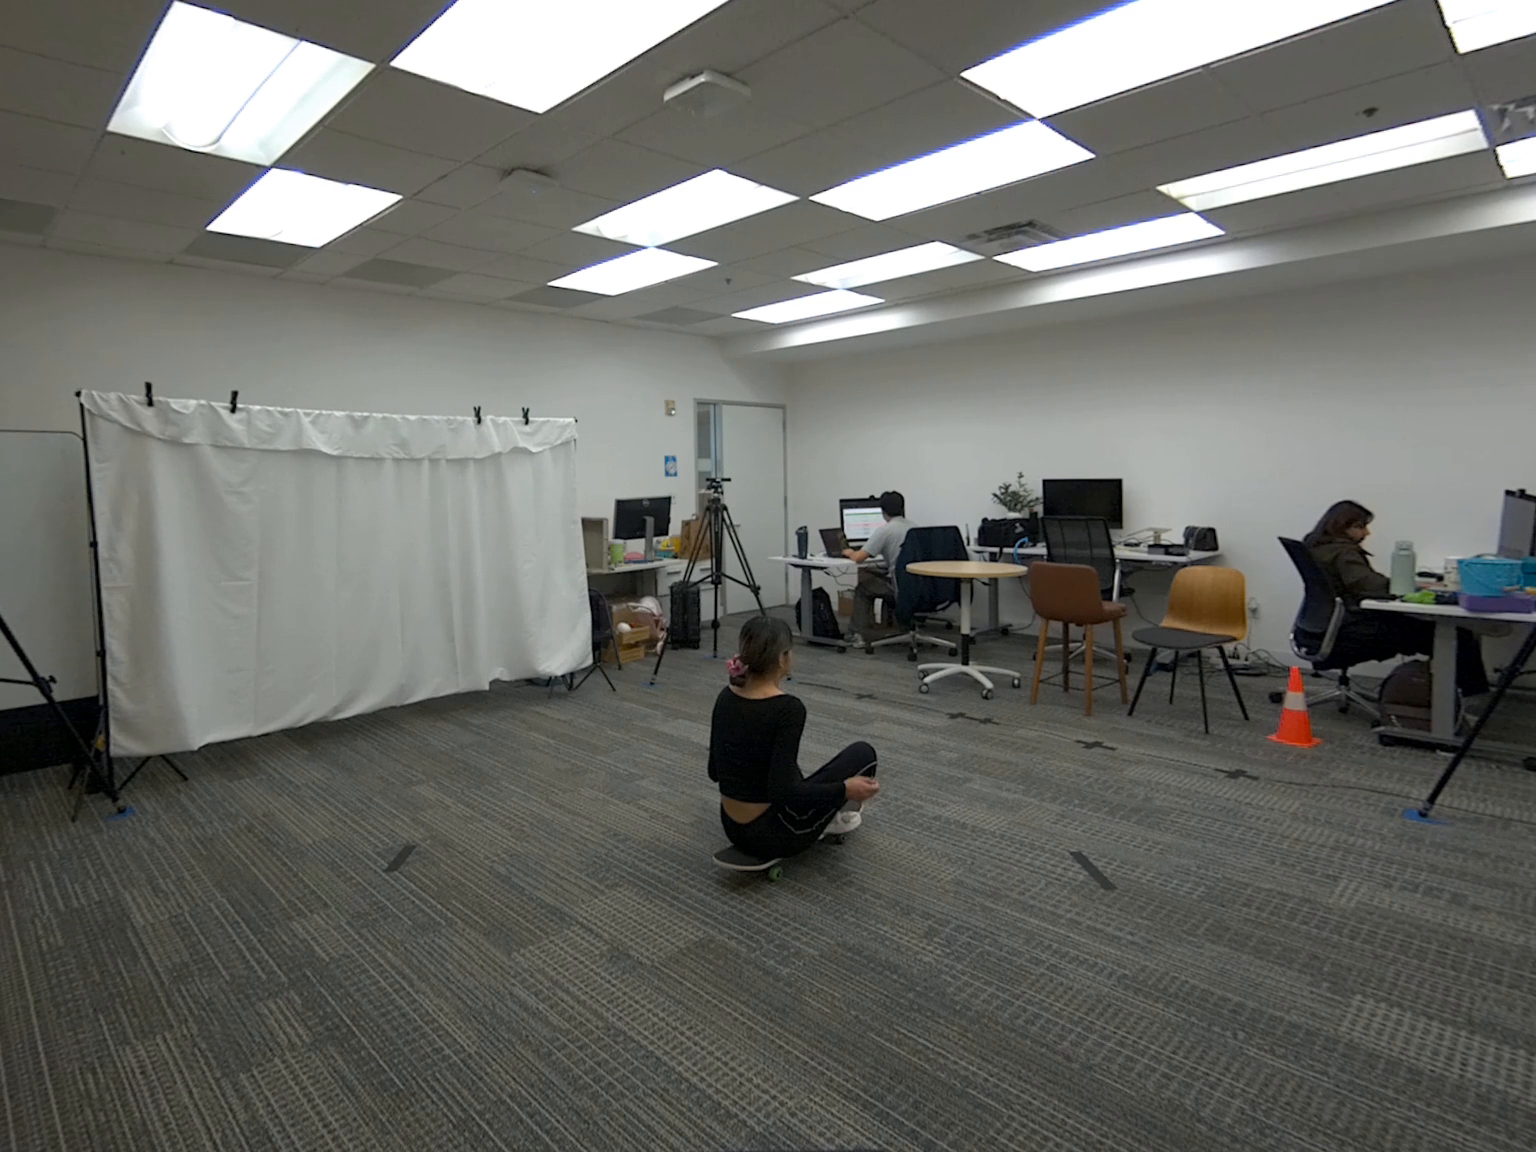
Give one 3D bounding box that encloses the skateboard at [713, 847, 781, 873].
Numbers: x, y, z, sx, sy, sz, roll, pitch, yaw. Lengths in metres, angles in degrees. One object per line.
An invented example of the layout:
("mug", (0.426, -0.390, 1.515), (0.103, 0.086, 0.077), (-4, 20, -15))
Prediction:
("skateboard", (0.104, 0.976, 3.170), (0.199, 0.110, 0.767), (3, 9, 38))
